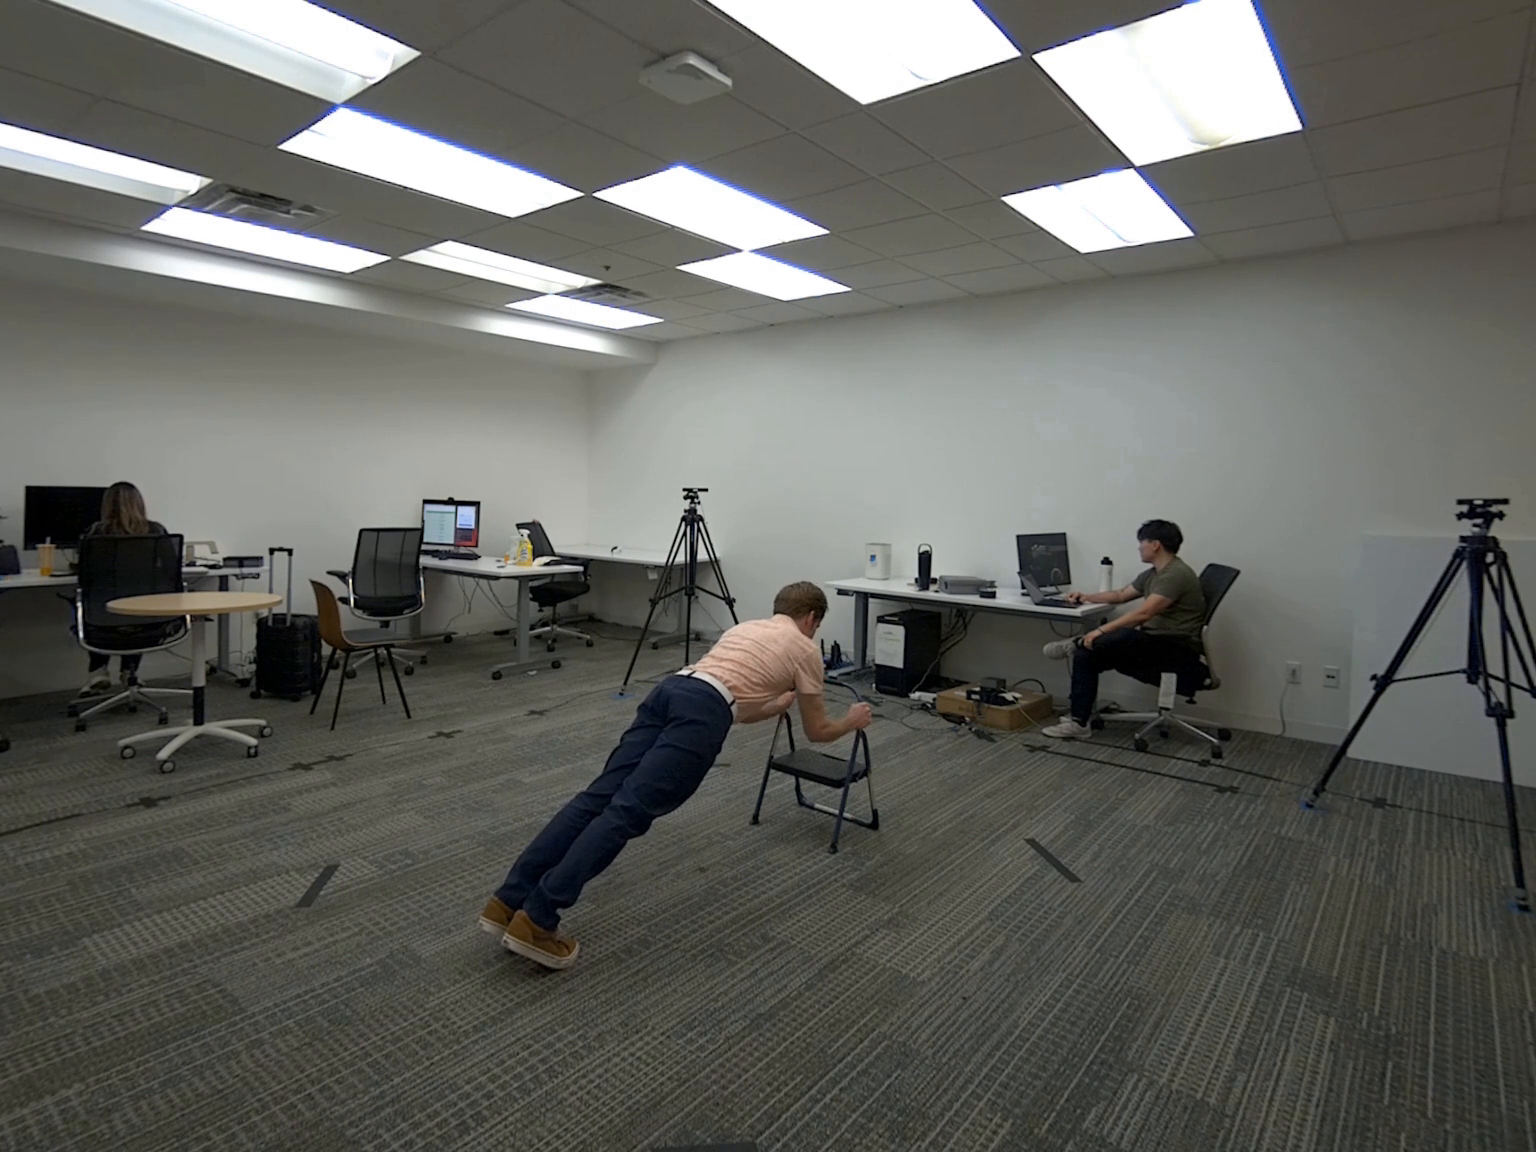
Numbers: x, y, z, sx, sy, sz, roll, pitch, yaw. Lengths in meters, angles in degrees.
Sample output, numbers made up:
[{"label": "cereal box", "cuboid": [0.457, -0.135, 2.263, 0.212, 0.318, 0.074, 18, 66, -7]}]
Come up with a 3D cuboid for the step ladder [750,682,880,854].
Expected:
[{"label": "step ladder", "cuboid": [0.194, 0.738, 3.523, 0.445, 0.604, 0.339, 4, 4, 40]}]
